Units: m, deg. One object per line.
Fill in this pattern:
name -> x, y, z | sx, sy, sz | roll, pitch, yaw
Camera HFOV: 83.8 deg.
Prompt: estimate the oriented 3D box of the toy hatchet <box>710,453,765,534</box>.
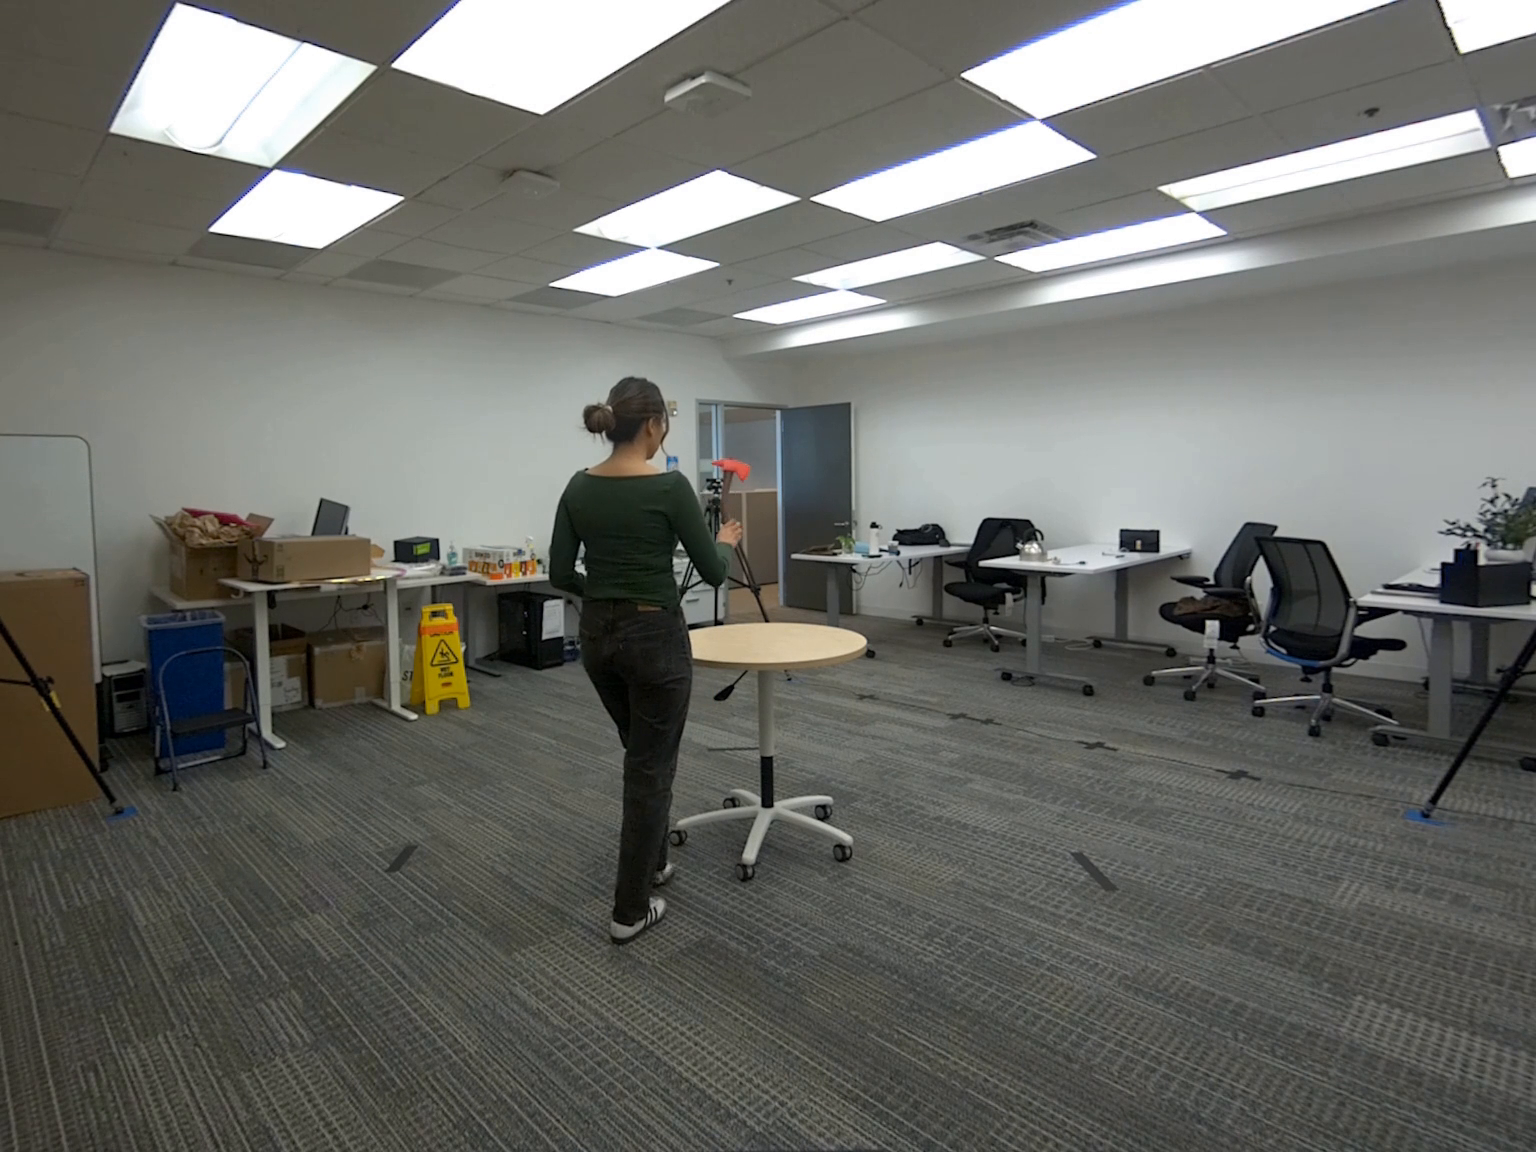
toy hatchet -> -0.108, -0.285, 2.958 | 0.130, 0.274, 0.029 | -10, -14, -8
